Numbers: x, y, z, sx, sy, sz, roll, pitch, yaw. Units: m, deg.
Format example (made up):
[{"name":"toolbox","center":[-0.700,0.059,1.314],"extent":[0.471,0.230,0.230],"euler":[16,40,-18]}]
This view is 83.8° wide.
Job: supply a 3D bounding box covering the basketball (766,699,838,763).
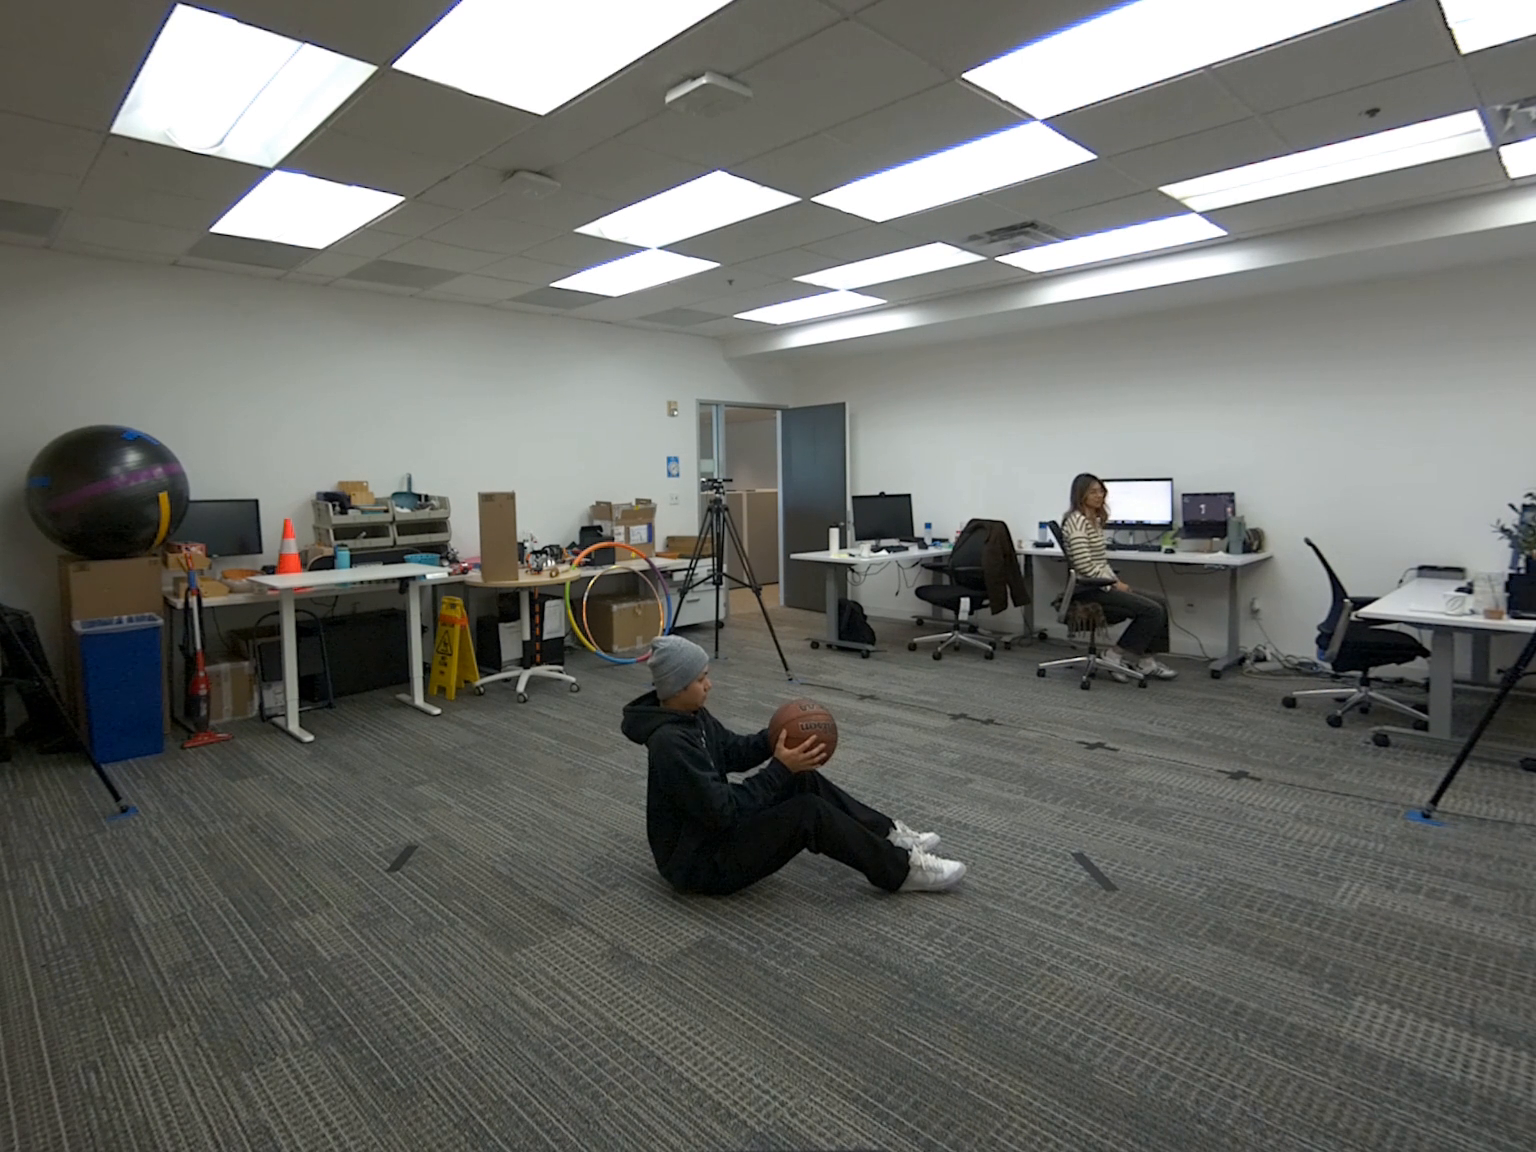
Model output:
[{"name":"basketball","center":[0.112,0.541,2.901],"extent":[0.236,0.235,0.237],"euler":[-1,5,-2]}]
